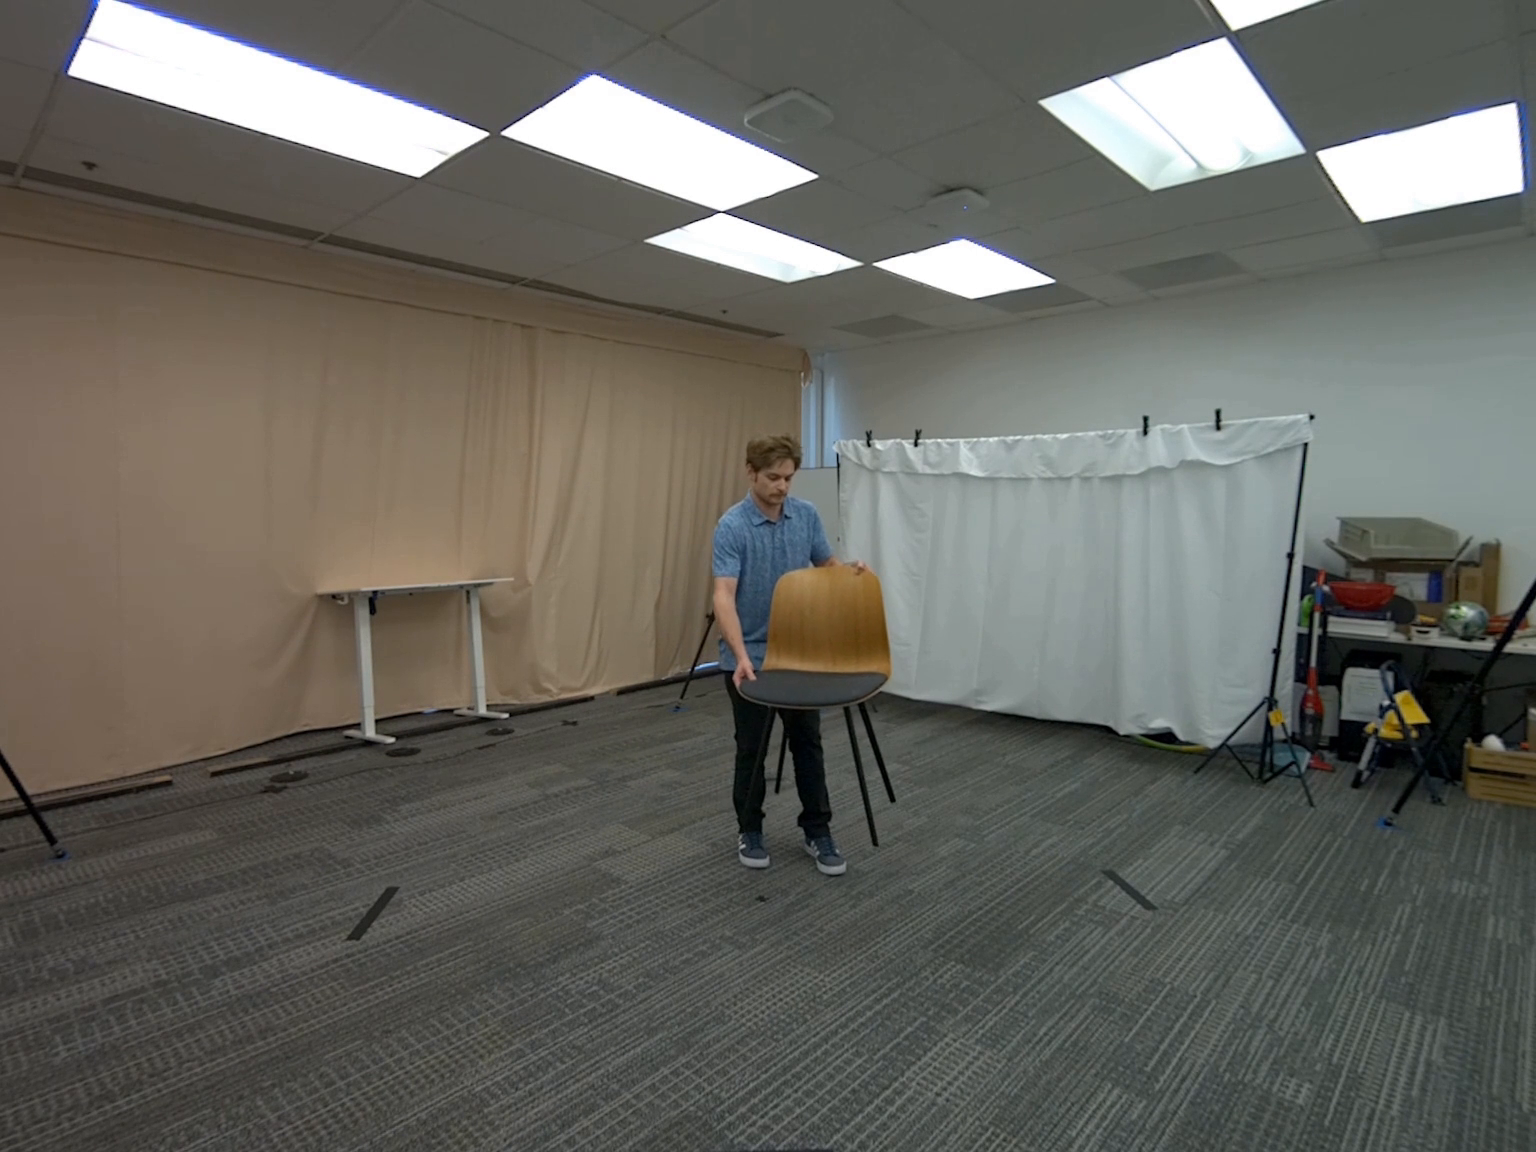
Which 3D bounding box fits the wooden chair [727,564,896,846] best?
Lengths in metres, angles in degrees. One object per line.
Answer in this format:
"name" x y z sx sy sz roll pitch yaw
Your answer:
"wooden chair" 0.180 0.402 2.861 0.487 0.878 0.512 -1 -2 18
